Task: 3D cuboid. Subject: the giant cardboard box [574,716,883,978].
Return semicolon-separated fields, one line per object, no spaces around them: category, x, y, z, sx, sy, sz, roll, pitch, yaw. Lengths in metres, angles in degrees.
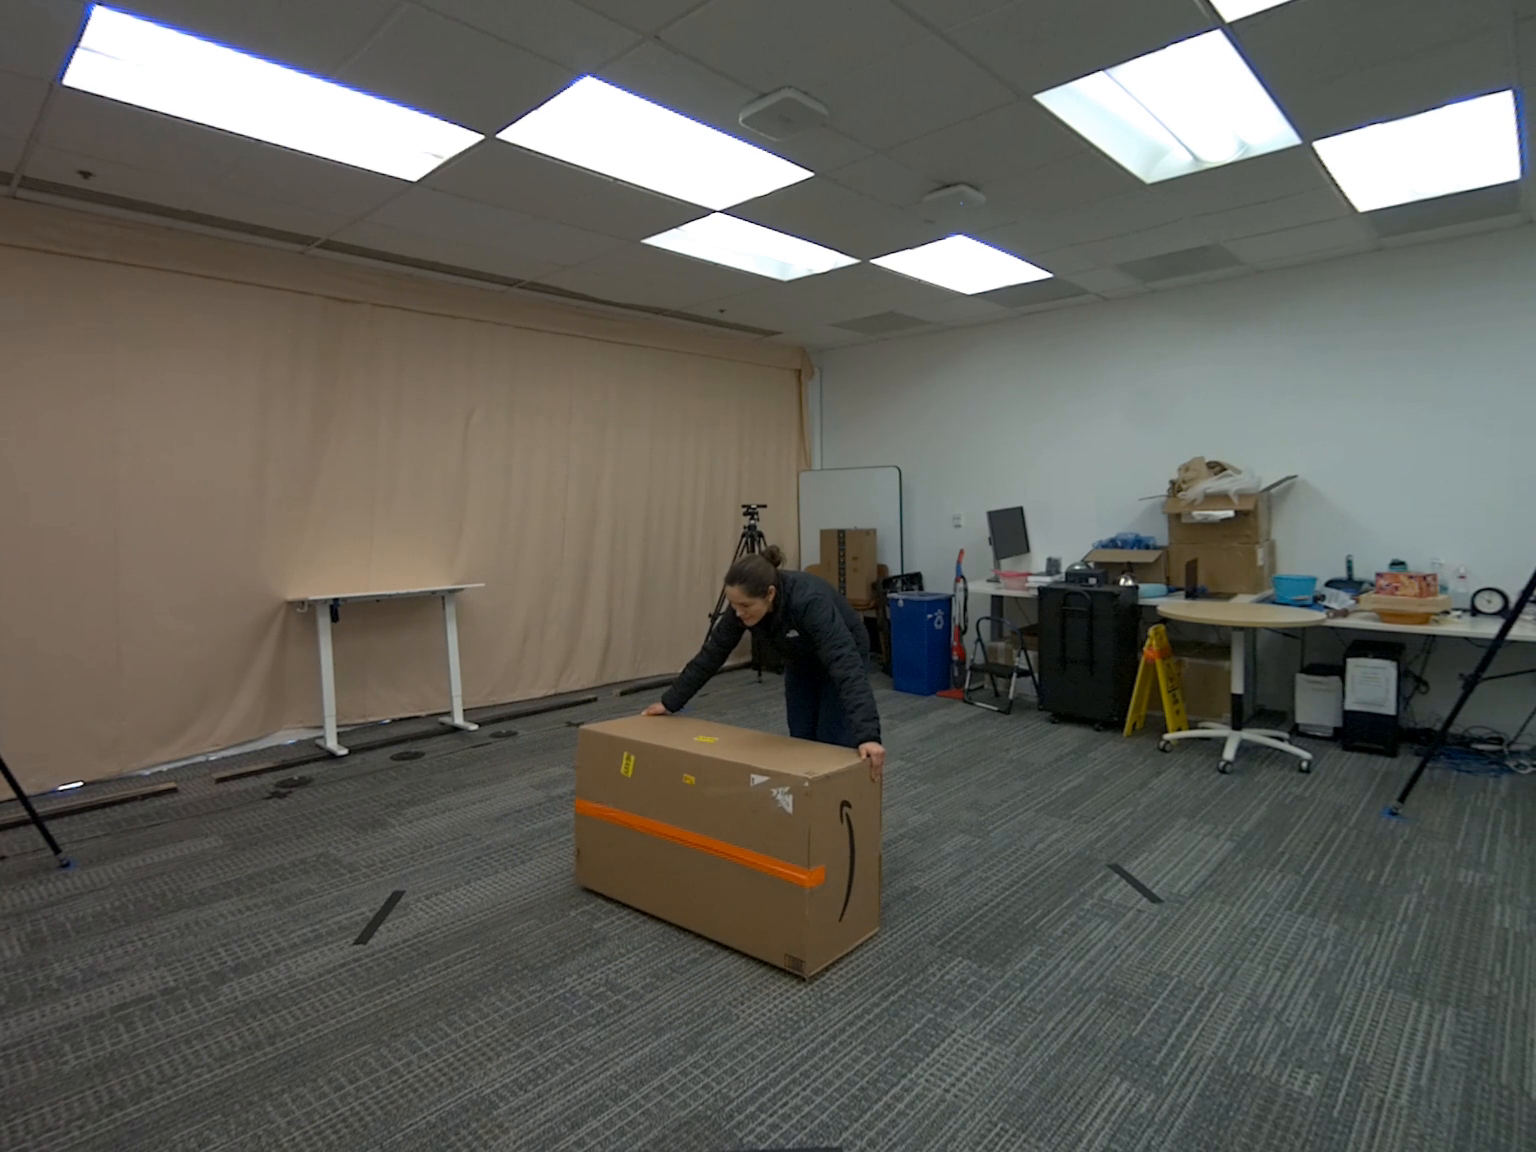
giant cardboard box;-0.155;0.856;2.905;1.060;0.583;0.433;2;1;38
